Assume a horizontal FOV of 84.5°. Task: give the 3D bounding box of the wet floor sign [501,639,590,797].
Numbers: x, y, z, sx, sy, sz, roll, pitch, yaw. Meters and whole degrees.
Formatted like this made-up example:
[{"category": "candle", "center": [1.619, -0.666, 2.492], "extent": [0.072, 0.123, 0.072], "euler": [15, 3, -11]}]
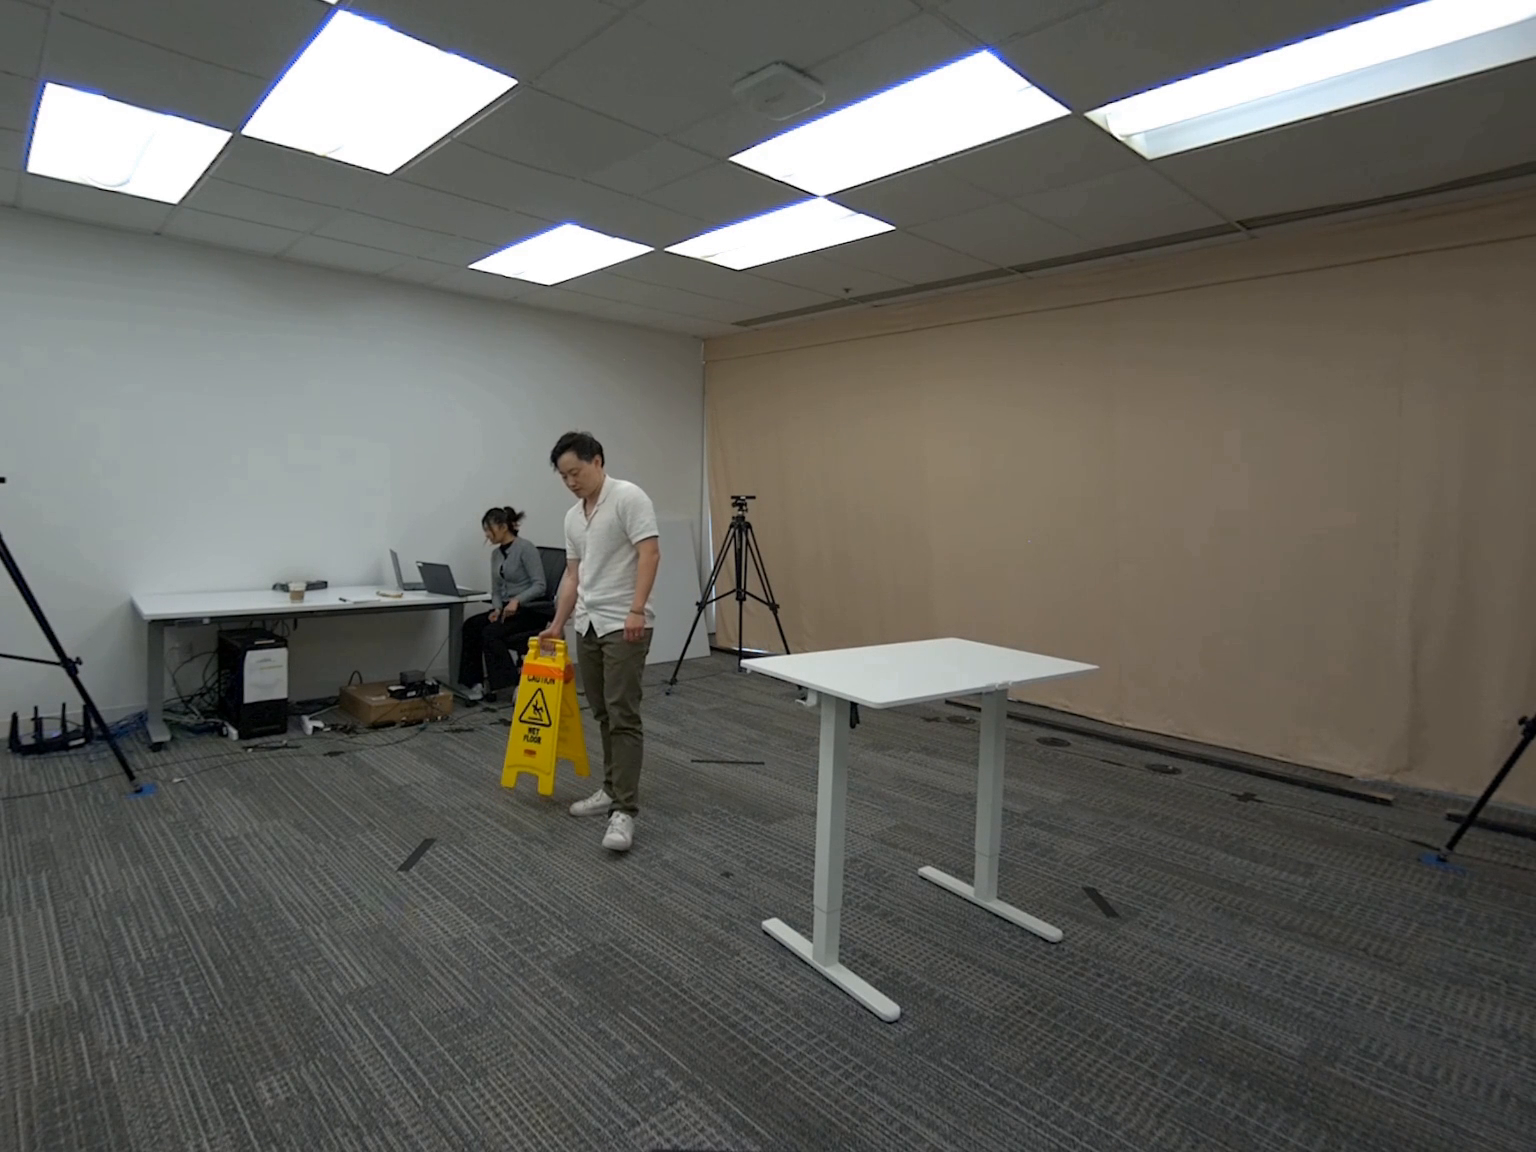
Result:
[{"category": "wet floor sign", "center": [-0.999, 0.604, 3.787], "extent": [0.287, 0.645, 0.285], "euler": [3, 3, 24]}]
